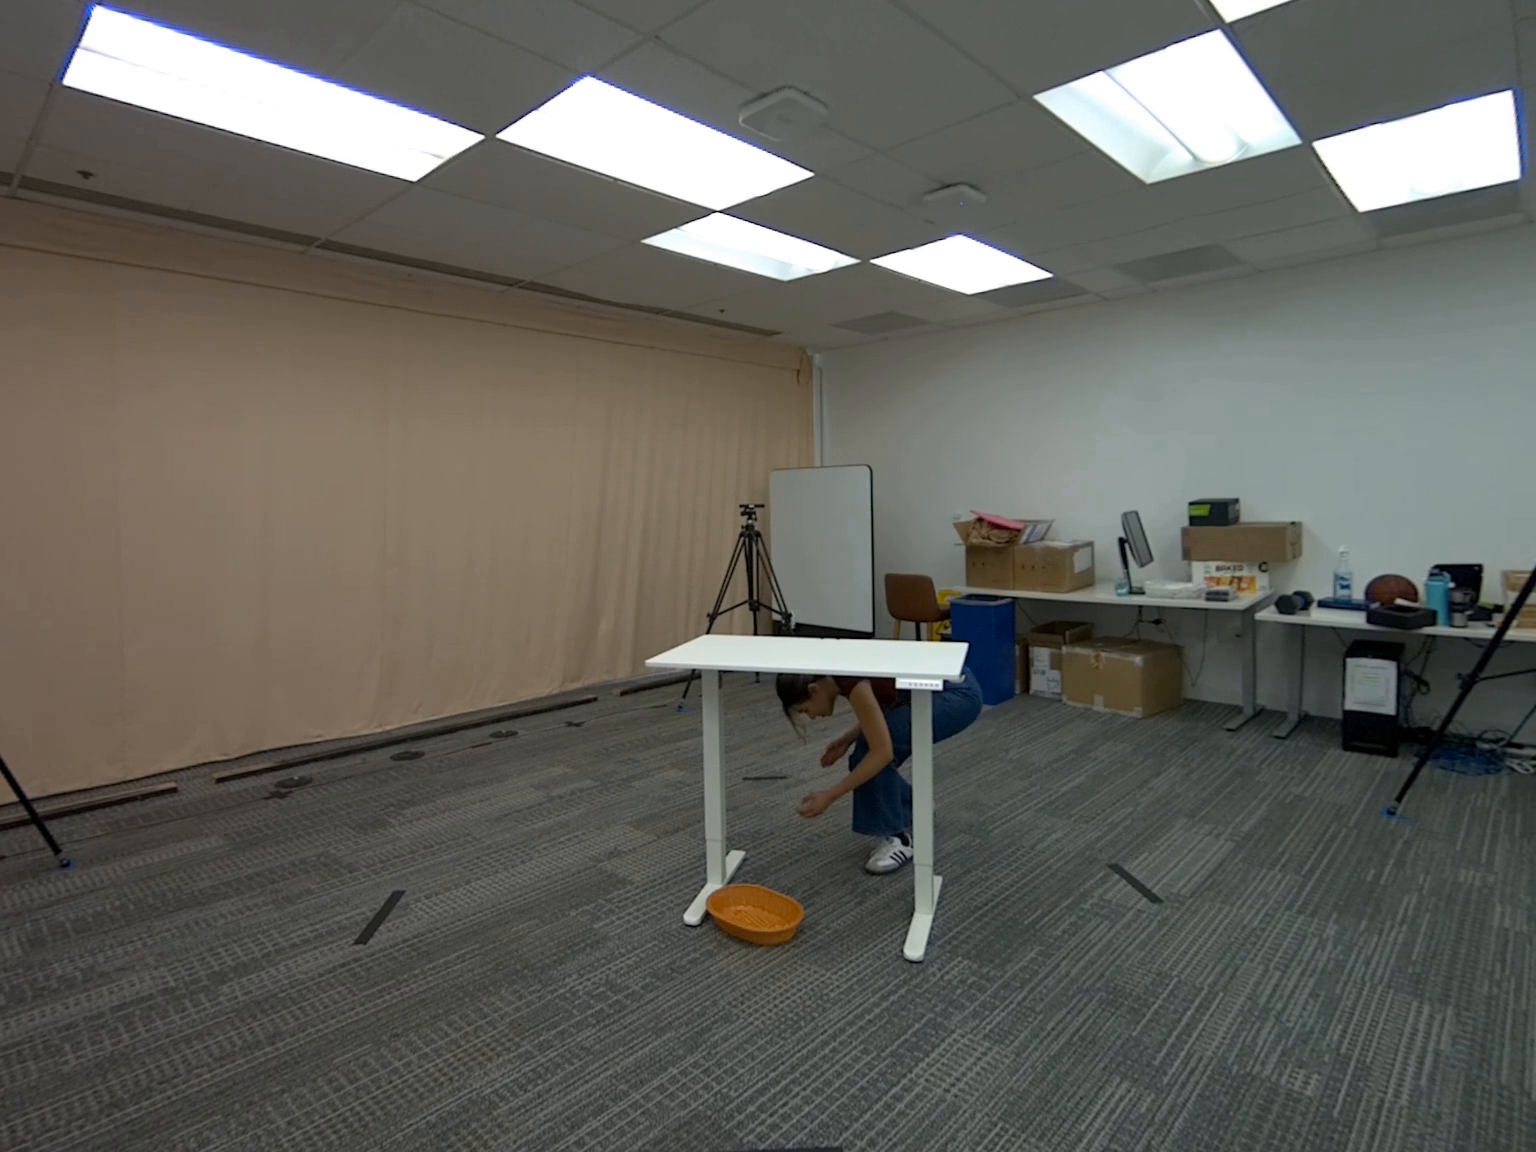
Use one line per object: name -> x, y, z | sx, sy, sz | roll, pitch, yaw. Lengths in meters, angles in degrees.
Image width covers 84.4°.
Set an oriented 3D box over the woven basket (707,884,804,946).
woven basket -> -0.037, 1.115, 2.780 | 0.362, 0.073, 0.245 | 3, 7, 41
